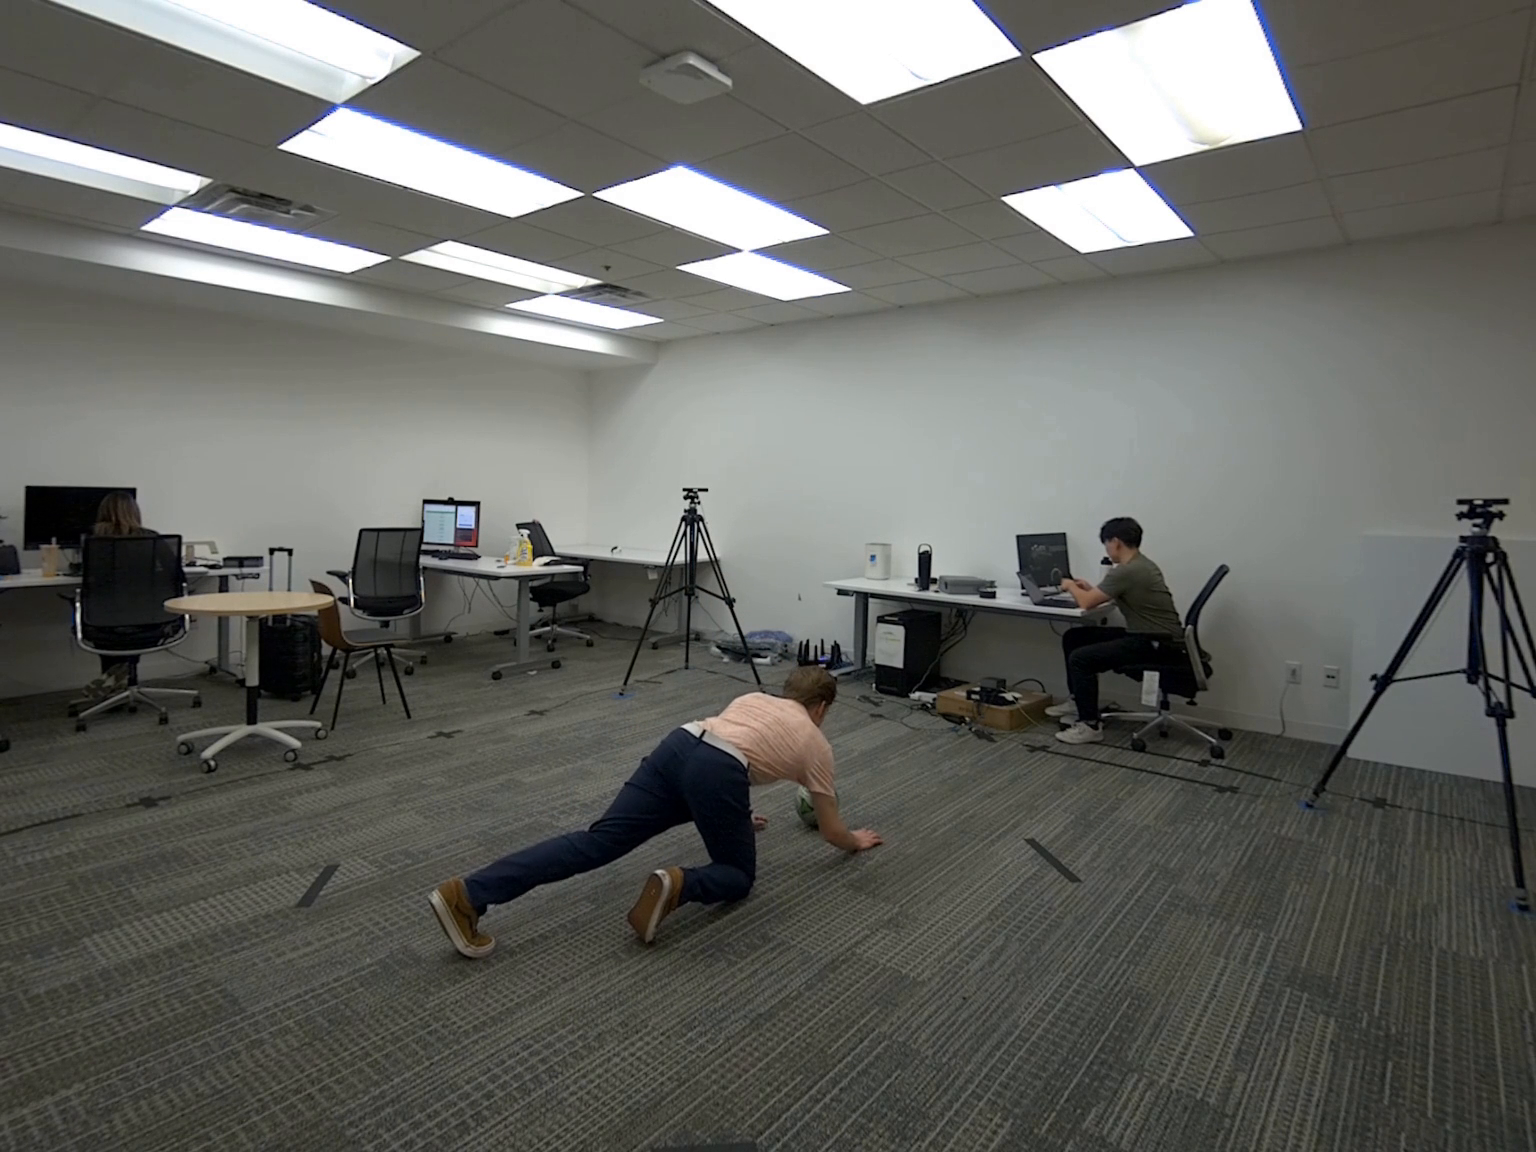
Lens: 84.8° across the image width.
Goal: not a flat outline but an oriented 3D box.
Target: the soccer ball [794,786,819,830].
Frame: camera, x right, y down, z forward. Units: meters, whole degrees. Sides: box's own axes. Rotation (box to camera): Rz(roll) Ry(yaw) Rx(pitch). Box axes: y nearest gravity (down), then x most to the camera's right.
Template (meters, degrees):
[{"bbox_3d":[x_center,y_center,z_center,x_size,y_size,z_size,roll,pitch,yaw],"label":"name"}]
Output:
[{"bbox_3d":[0.195,0.938,3.549,0.187,0.187,0.188,1,4,-2],"label":"soccer ball"}]
